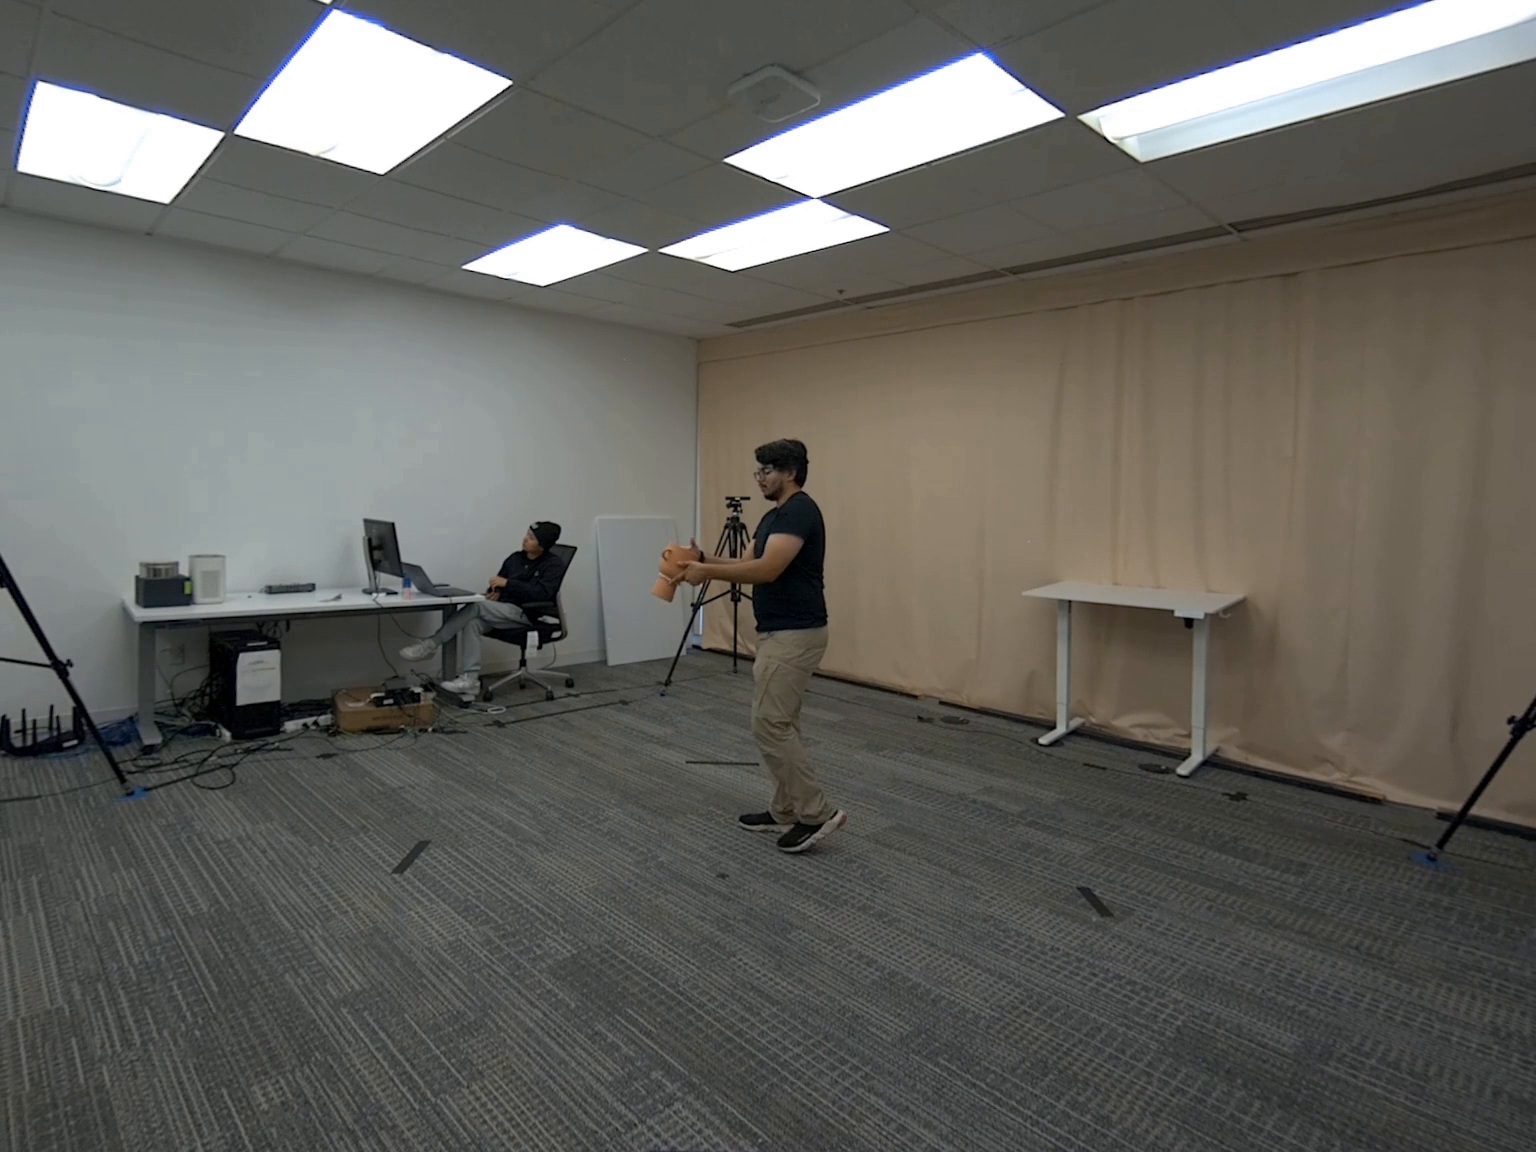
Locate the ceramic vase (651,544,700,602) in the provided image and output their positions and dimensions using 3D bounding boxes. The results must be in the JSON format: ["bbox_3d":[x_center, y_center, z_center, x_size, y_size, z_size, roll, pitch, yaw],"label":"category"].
[{"bbox_3d":[-0.393,-0.013,3.413,0.157,0.220,0.136,26,-1,-10],"label":"ceramic vase"}]
